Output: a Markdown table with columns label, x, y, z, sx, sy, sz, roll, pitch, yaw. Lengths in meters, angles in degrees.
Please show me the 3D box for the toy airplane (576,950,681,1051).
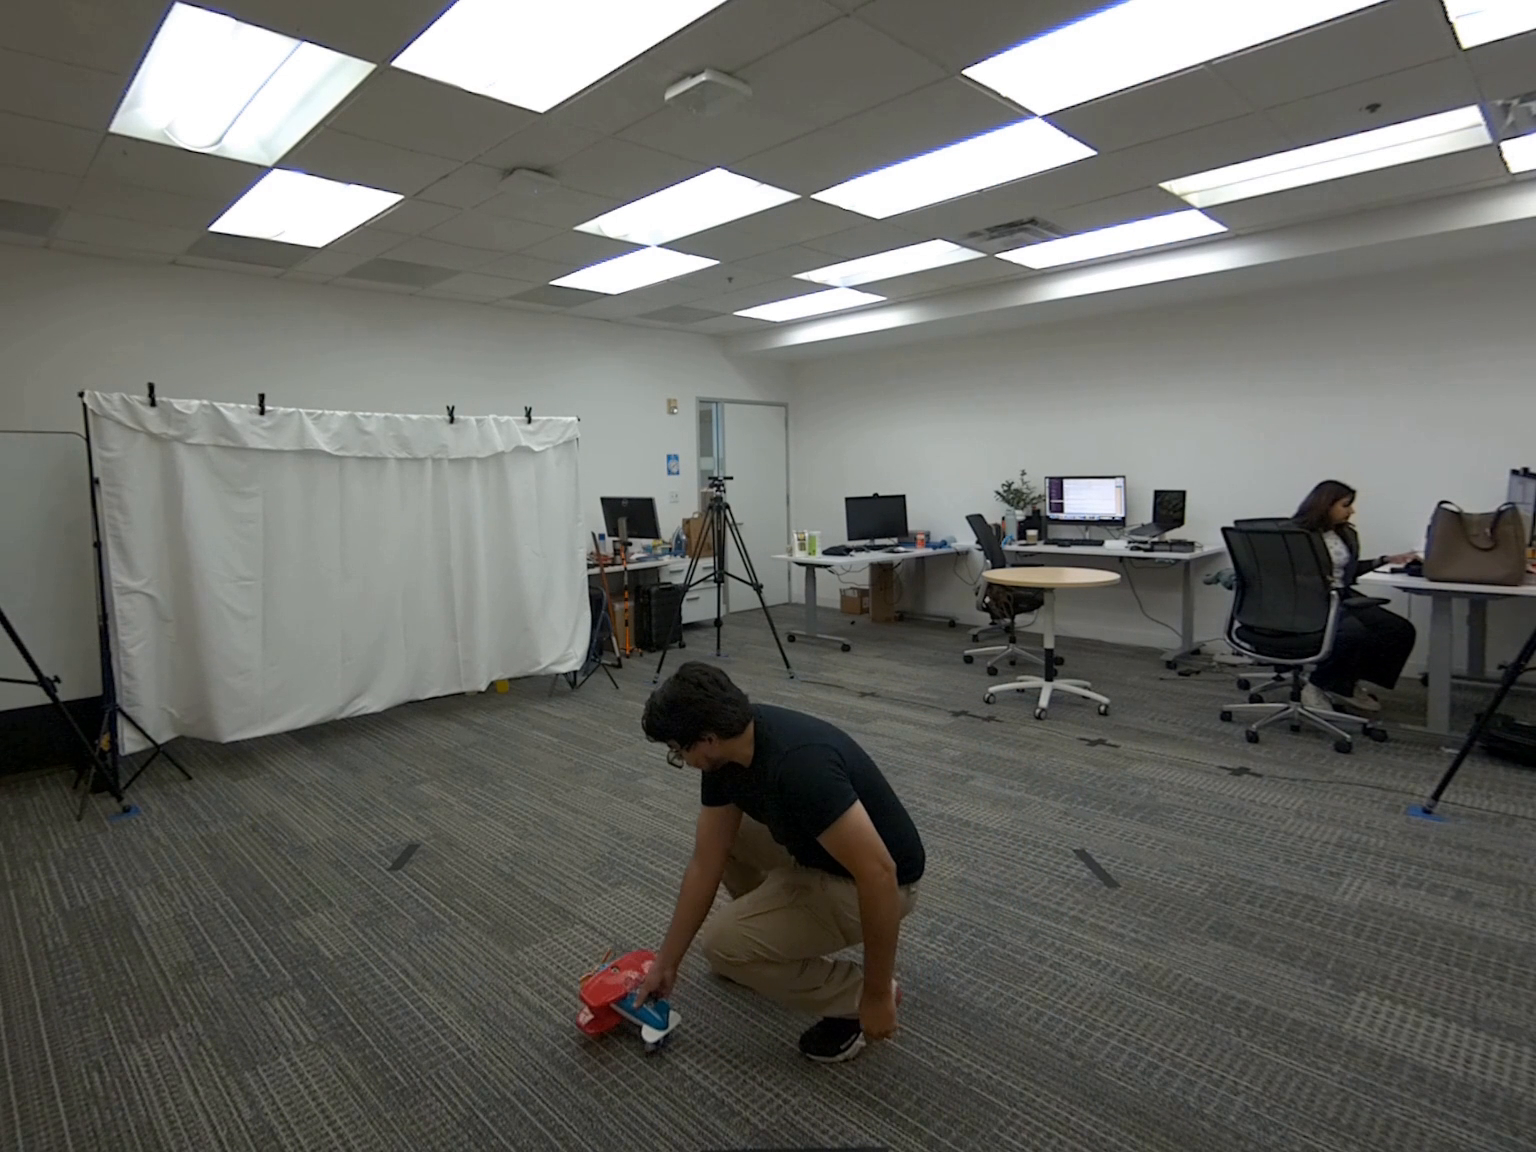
| label | x | y | z | sx | sy | sz | roll | pitch | yaw |
| --- | --- | --- | --- | --- | --- | --- | --- | --- | --- |
| toy airplane | -0.339 | 1.083 | 2.181 | 0.261 | 0.155 | 0.251 | -3 | 6 | 7 |
